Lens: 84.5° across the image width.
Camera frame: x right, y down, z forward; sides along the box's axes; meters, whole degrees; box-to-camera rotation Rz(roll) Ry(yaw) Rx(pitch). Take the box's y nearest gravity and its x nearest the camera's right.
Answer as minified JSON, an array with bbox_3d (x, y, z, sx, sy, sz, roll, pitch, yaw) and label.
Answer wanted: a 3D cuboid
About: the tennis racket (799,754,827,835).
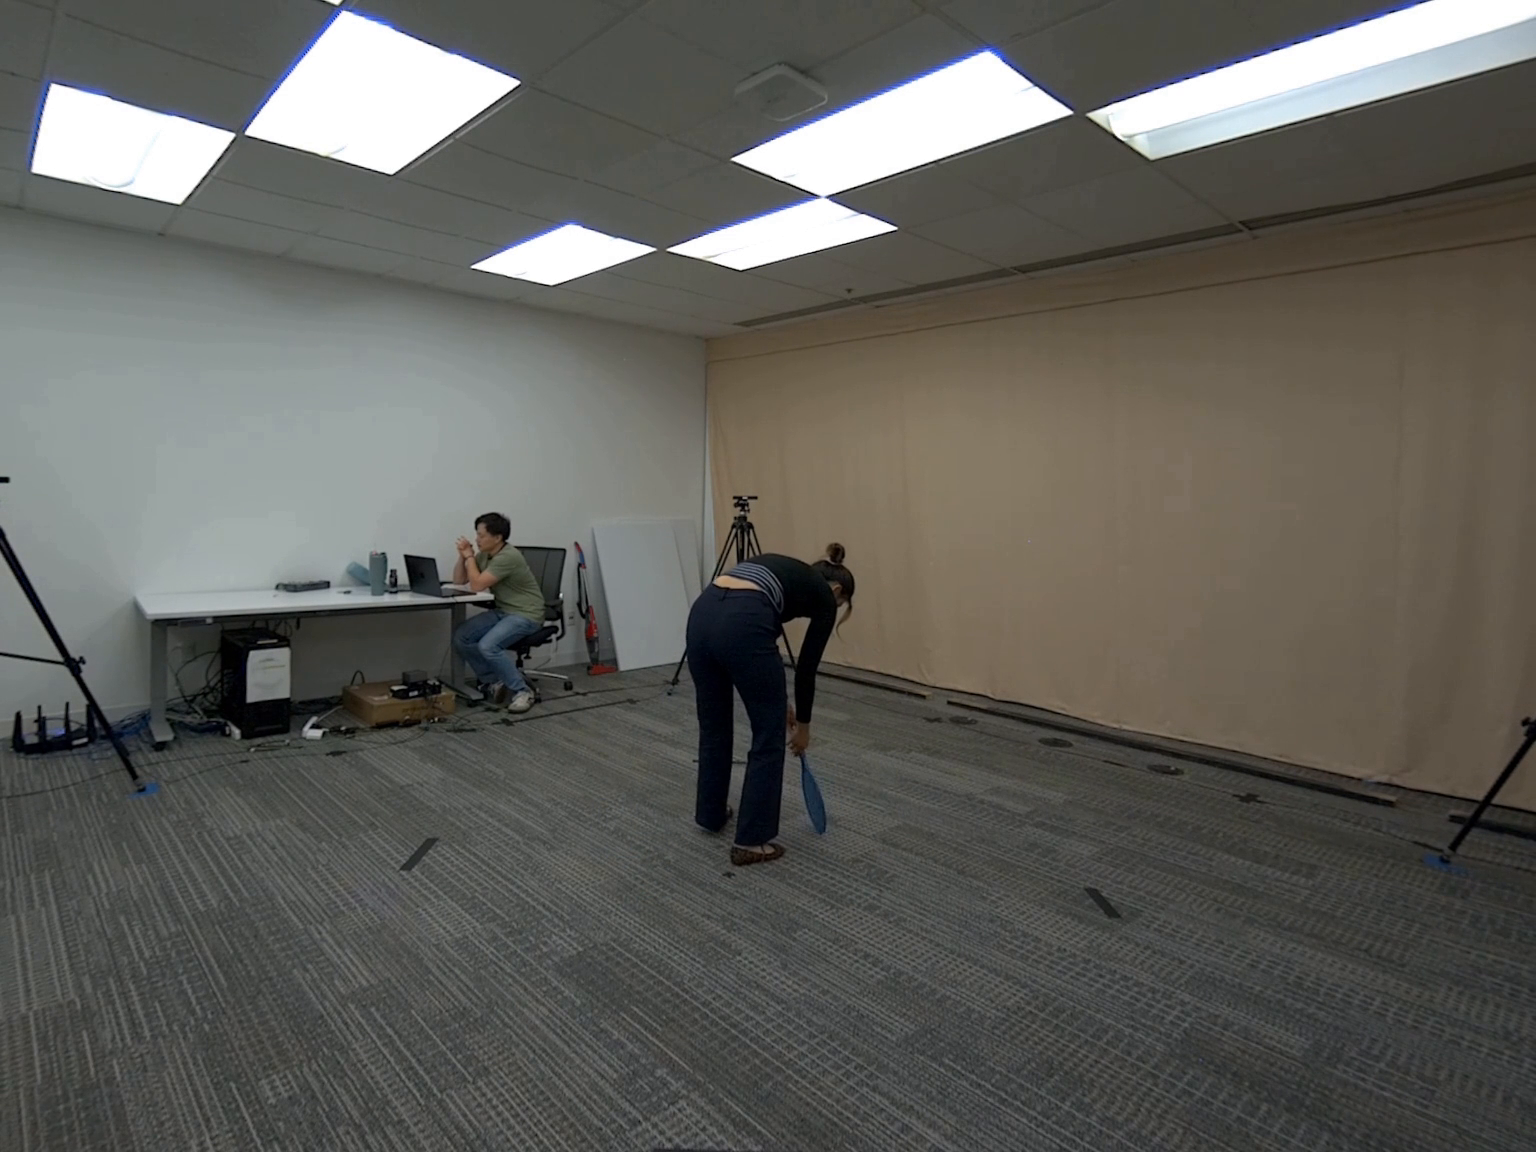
[{"bbox_3d":[0.153,0.867,3.572,0.031,0.439,0.213,-9,-17,-18],"label":"tennis racket"}]
